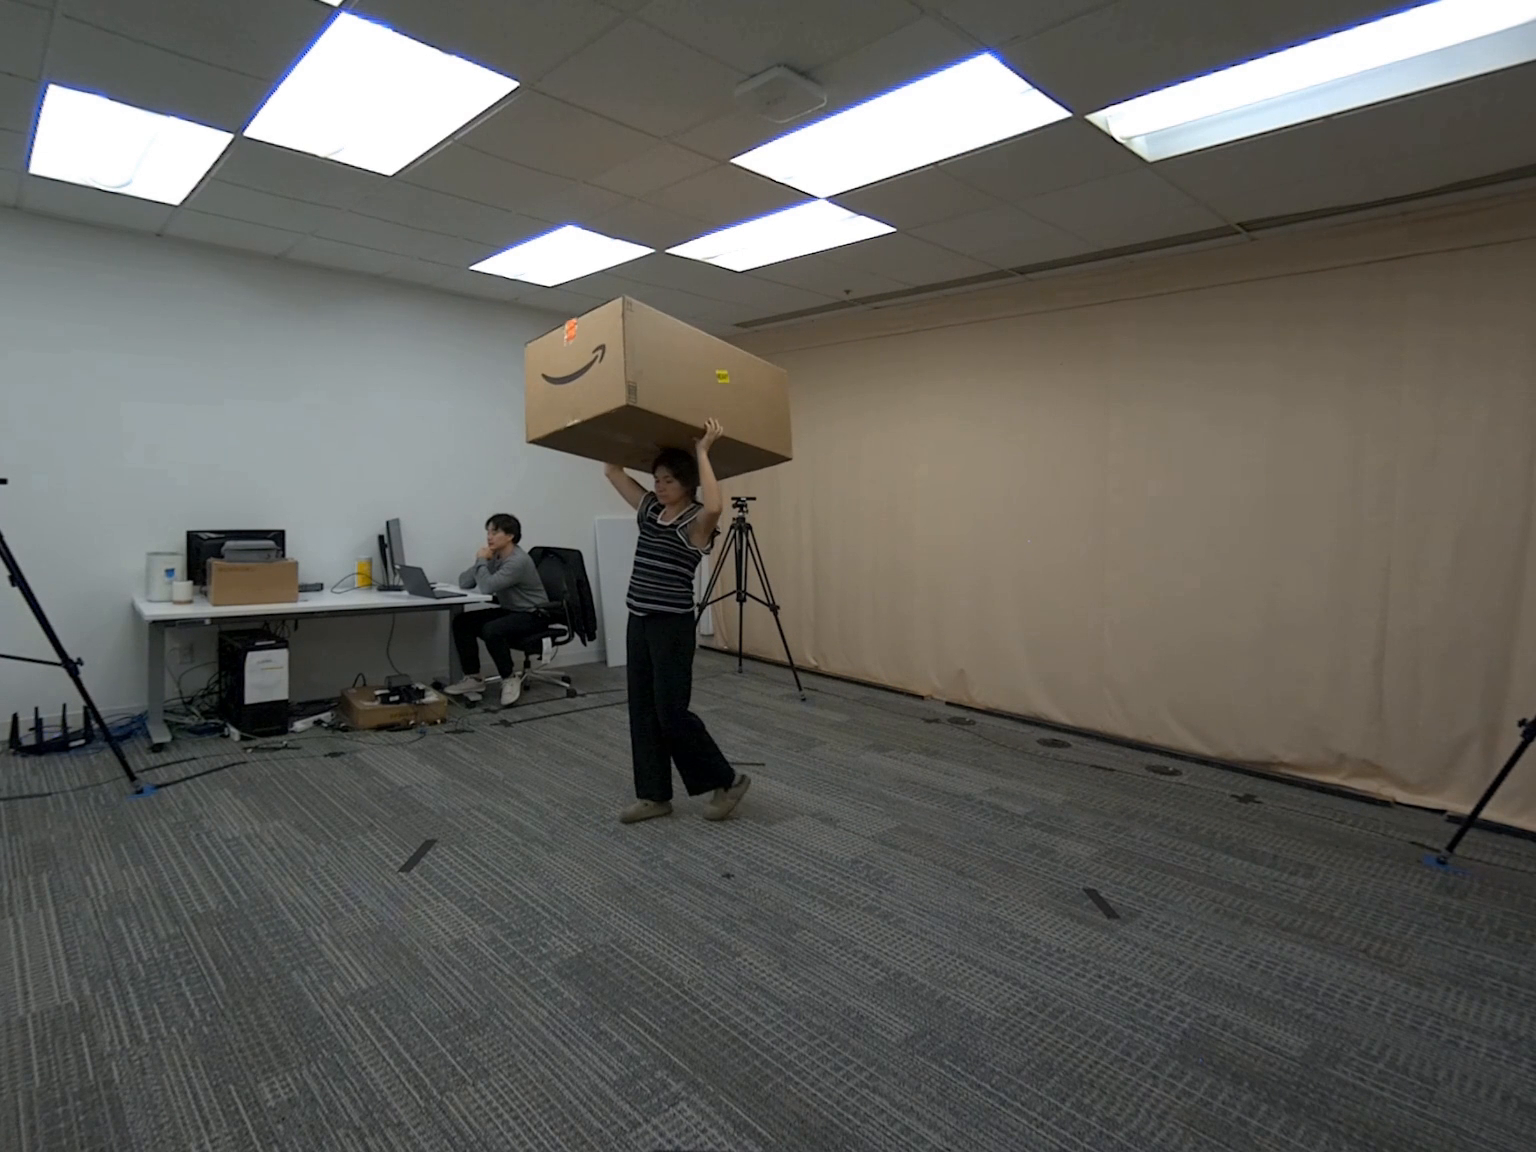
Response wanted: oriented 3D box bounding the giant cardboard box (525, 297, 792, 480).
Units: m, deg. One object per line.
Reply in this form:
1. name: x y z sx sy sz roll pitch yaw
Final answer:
1. giant cardboard box: -0.437 -0.725 3.557 0.588 0.430 0.998 -11 -13 37
